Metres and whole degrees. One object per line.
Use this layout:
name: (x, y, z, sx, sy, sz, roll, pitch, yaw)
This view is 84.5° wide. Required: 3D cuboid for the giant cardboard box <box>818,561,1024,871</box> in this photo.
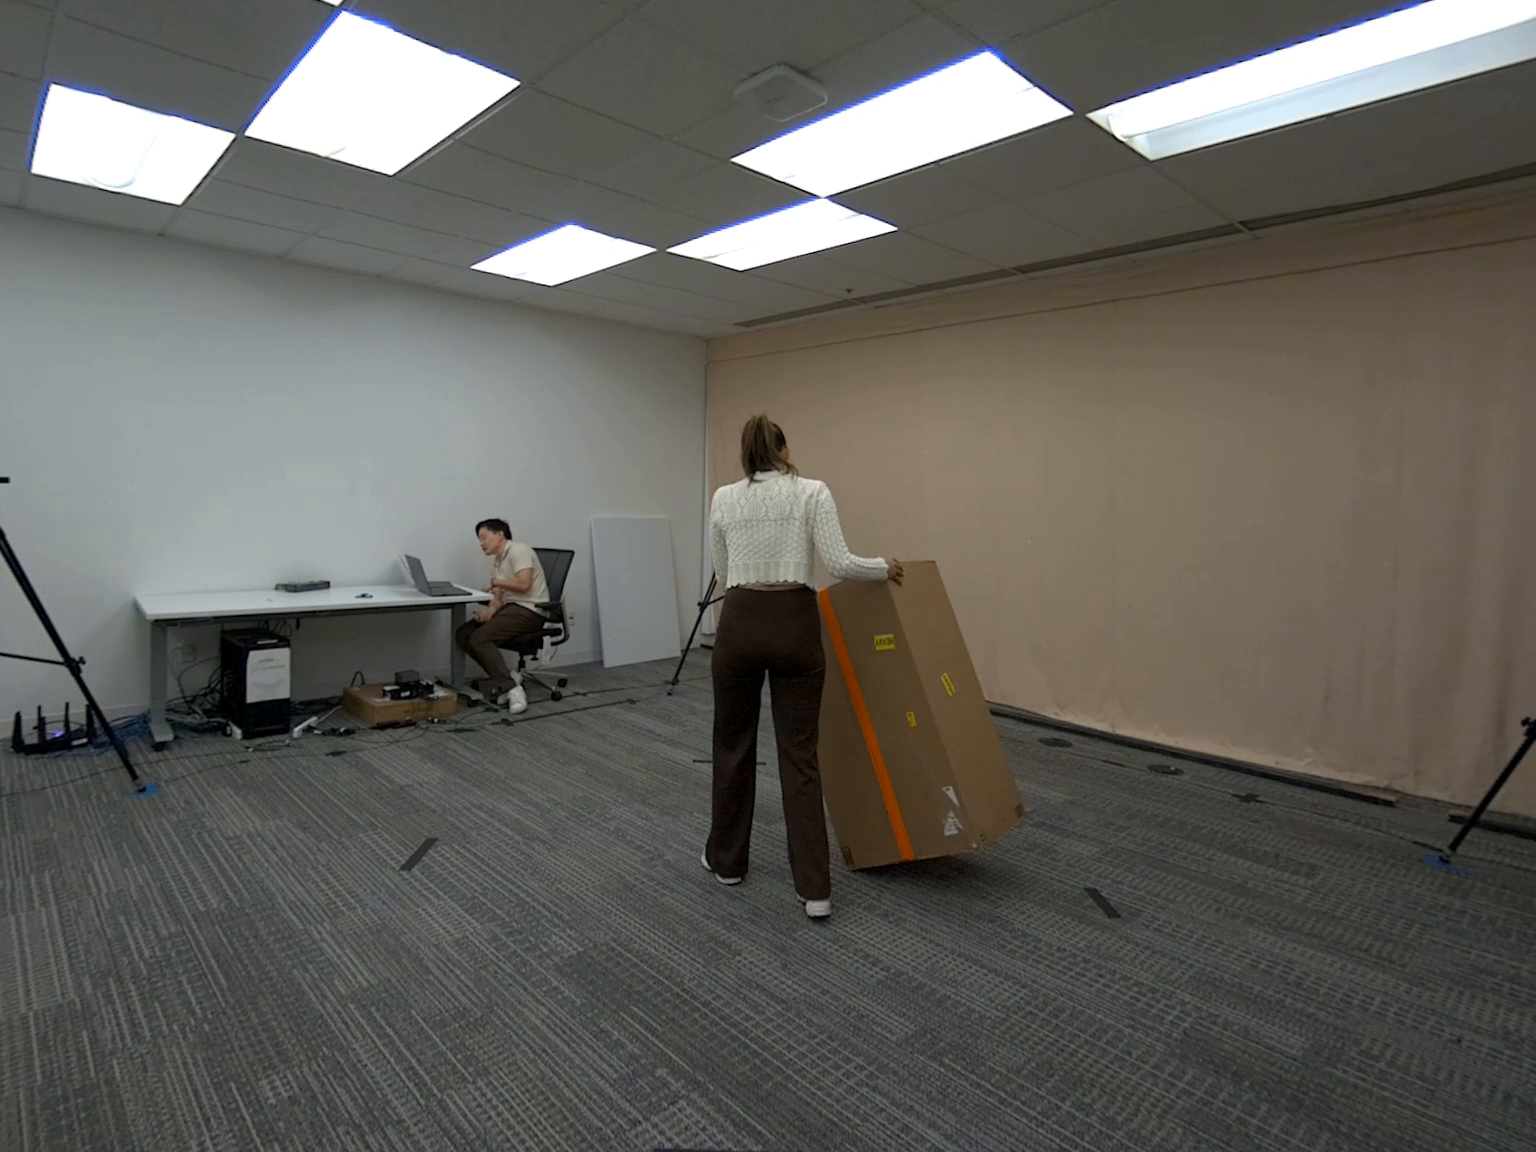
giant cardboard box: (0.474, 0.523, 3.267, 0.584, 1.037, 0.417, -26, -14, 37)
